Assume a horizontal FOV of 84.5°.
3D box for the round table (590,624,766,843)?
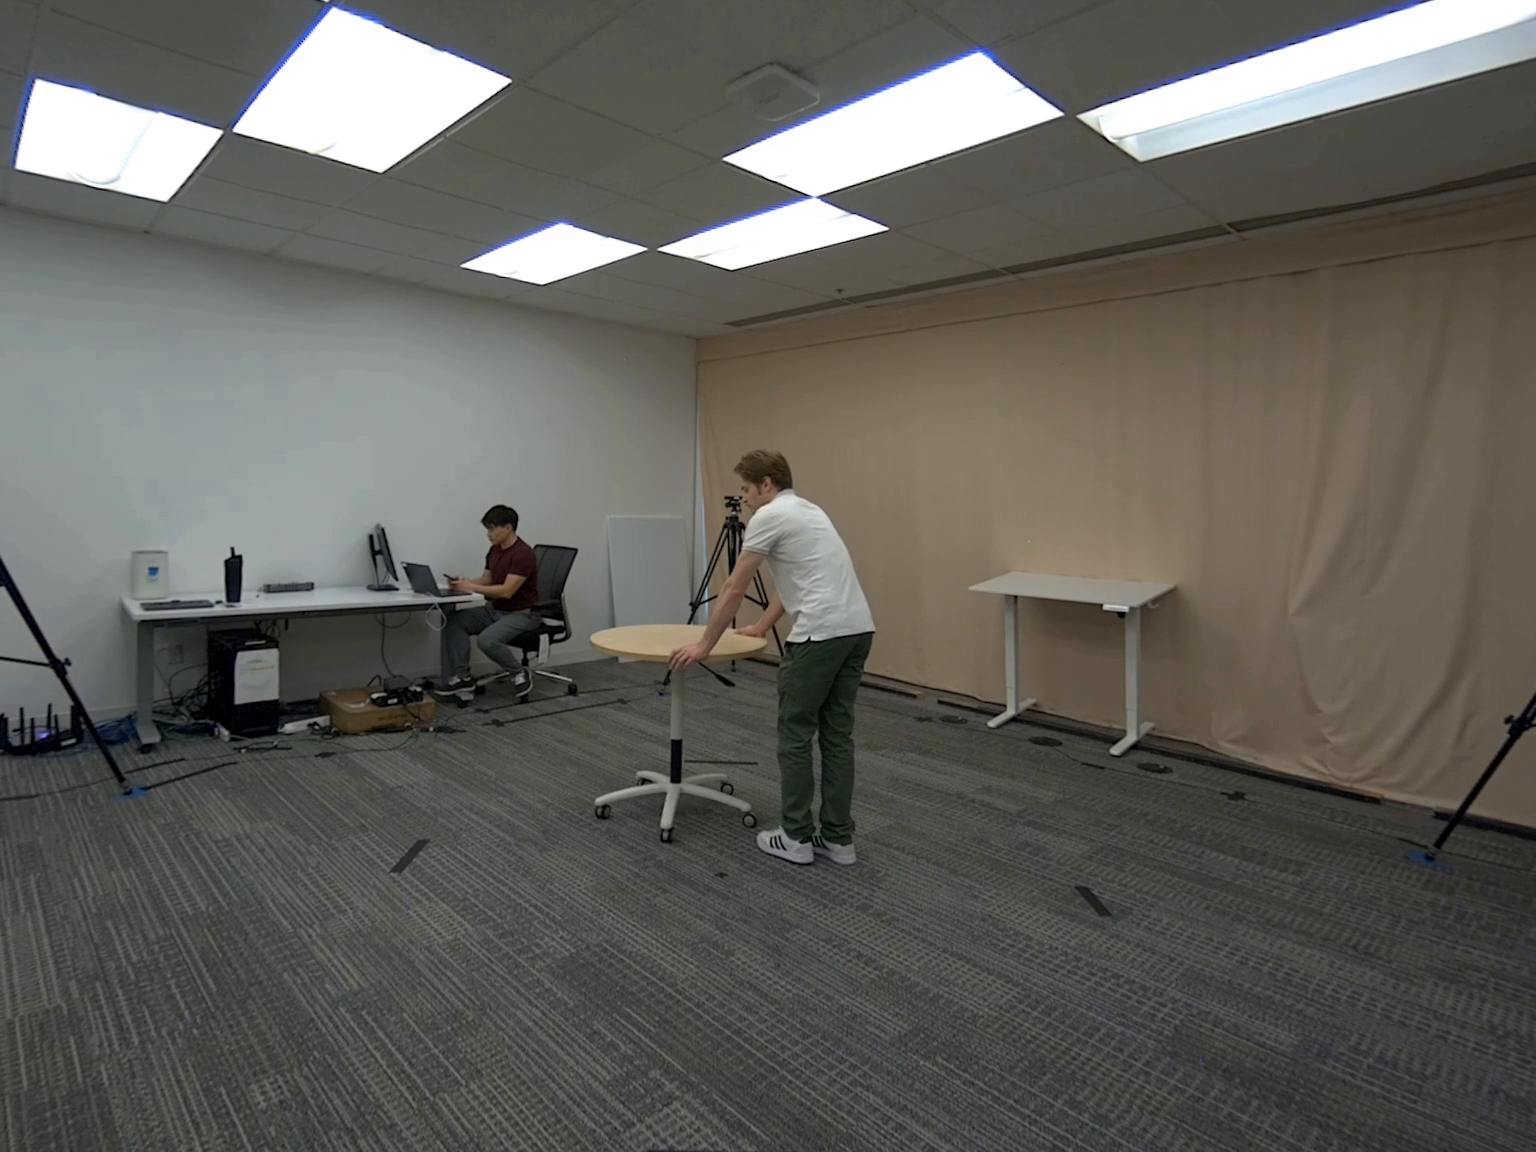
[{"bbox_3d":[-0.408,0.661,3.688,0.763,0.792,0.767,2,4,-1],"label":"round table"}]
